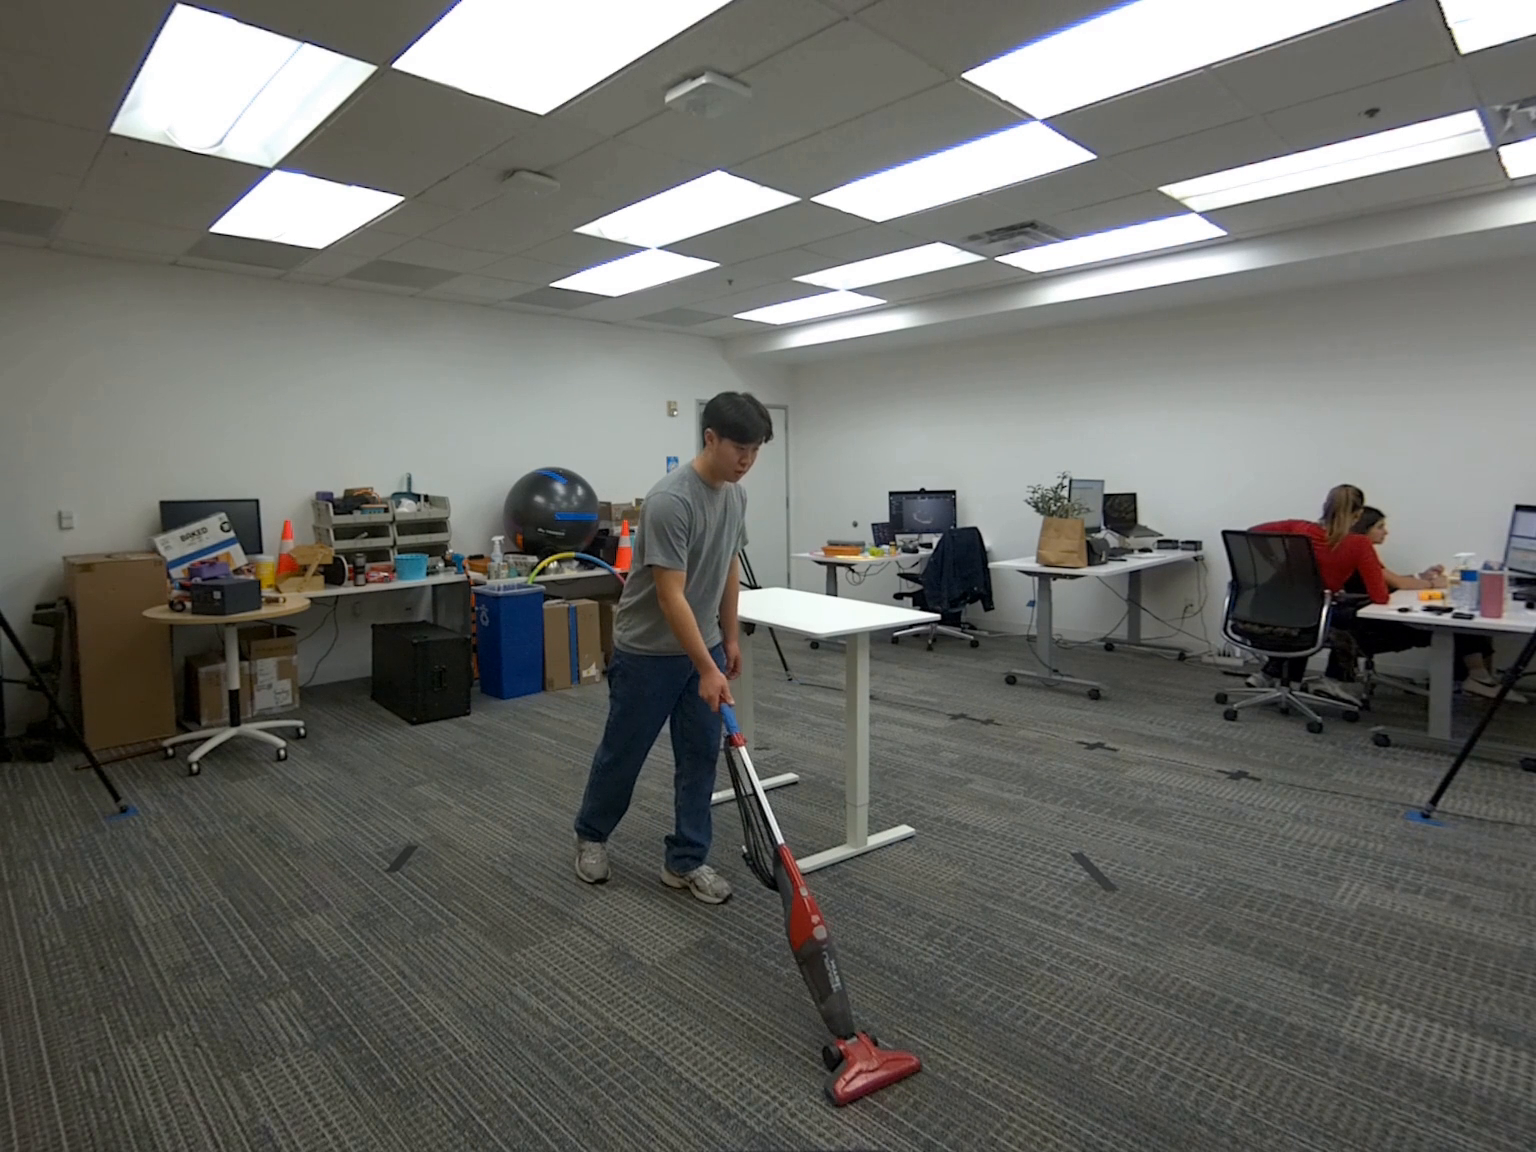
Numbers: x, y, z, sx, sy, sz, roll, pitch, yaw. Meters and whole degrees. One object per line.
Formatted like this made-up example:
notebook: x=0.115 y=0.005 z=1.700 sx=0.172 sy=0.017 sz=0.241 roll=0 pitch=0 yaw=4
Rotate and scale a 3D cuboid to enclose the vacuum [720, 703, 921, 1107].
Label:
vacuum: x=0.049 y=0.778 z=2.304 sx=0.246 sy=0.142 sz=1.087 roll=0 pitch=46 yaw=-29
